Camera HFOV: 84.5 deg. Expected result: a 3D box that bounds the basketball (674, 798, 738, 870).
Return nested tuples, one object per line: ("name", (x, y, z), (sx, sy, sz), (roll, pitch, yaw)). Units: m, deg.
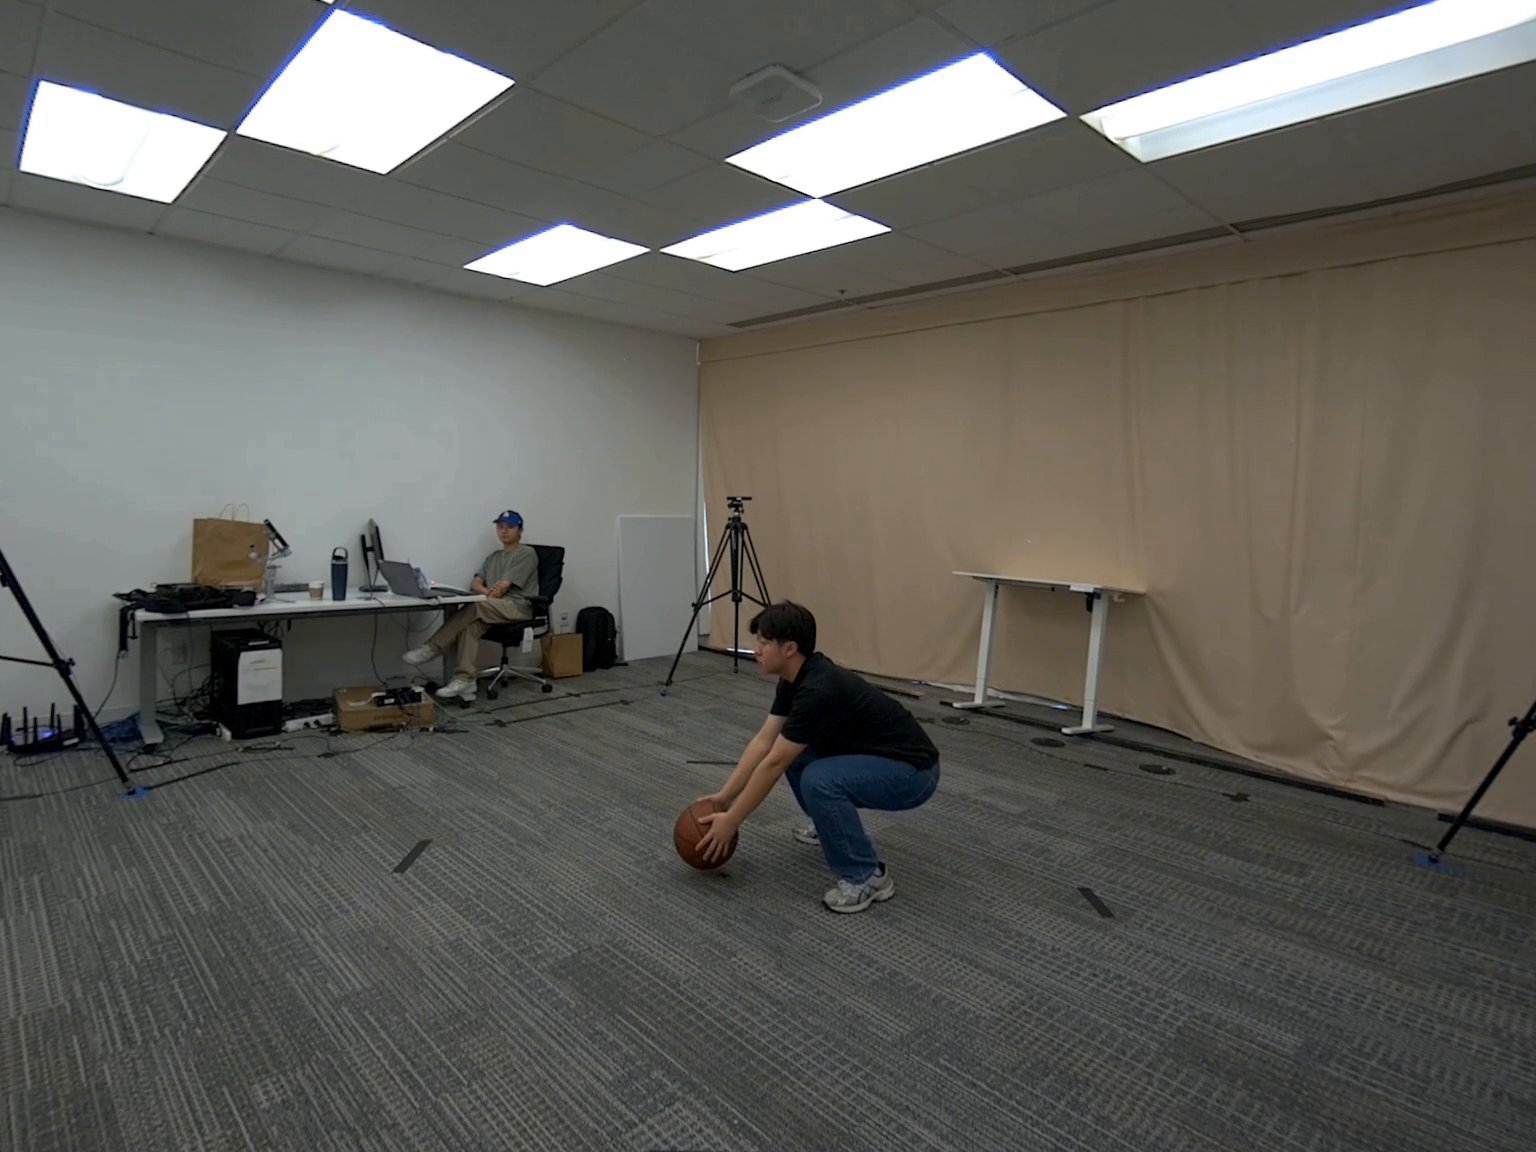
("basketball", (-0.233, 0.941, 3.097), (0.236, 0.235, 0.237), (1, 4, -1))
